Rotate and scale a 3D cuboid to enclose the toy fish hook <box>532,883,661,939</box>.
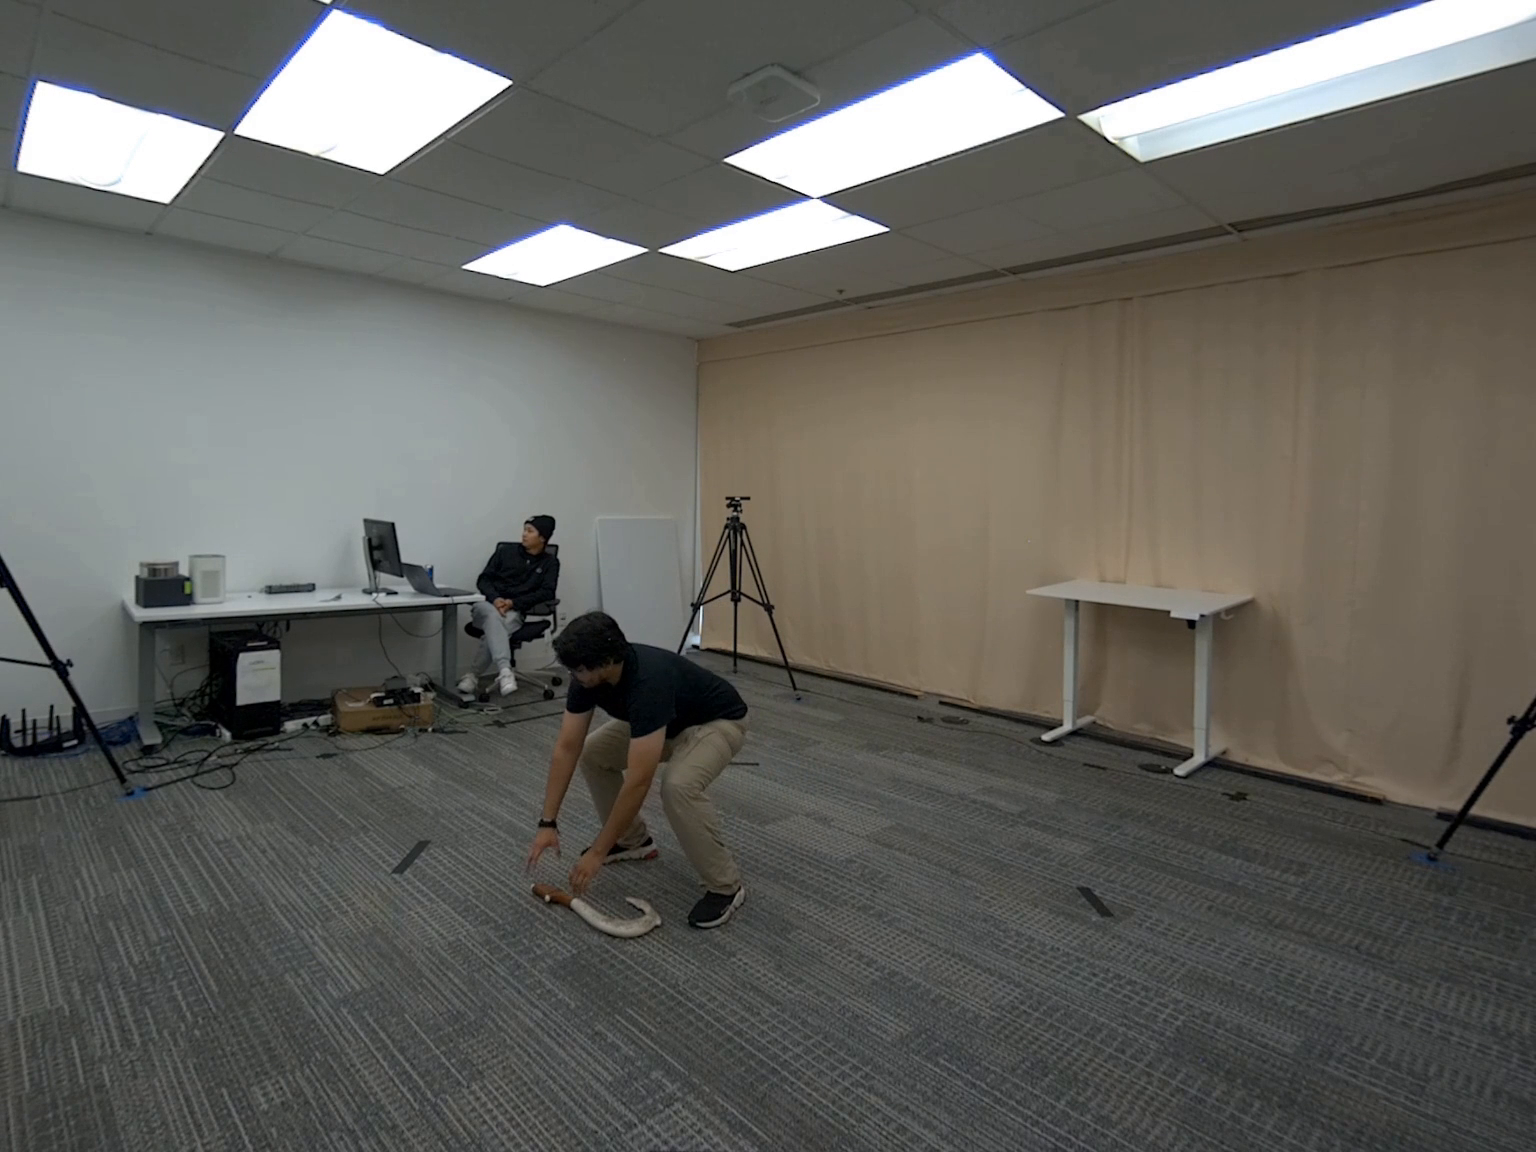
[{"bbox_3d":[-0.585,1.103,2.836,0.519,0.048,0.219,6,-1,35],"label":"toy fish hook"}]
